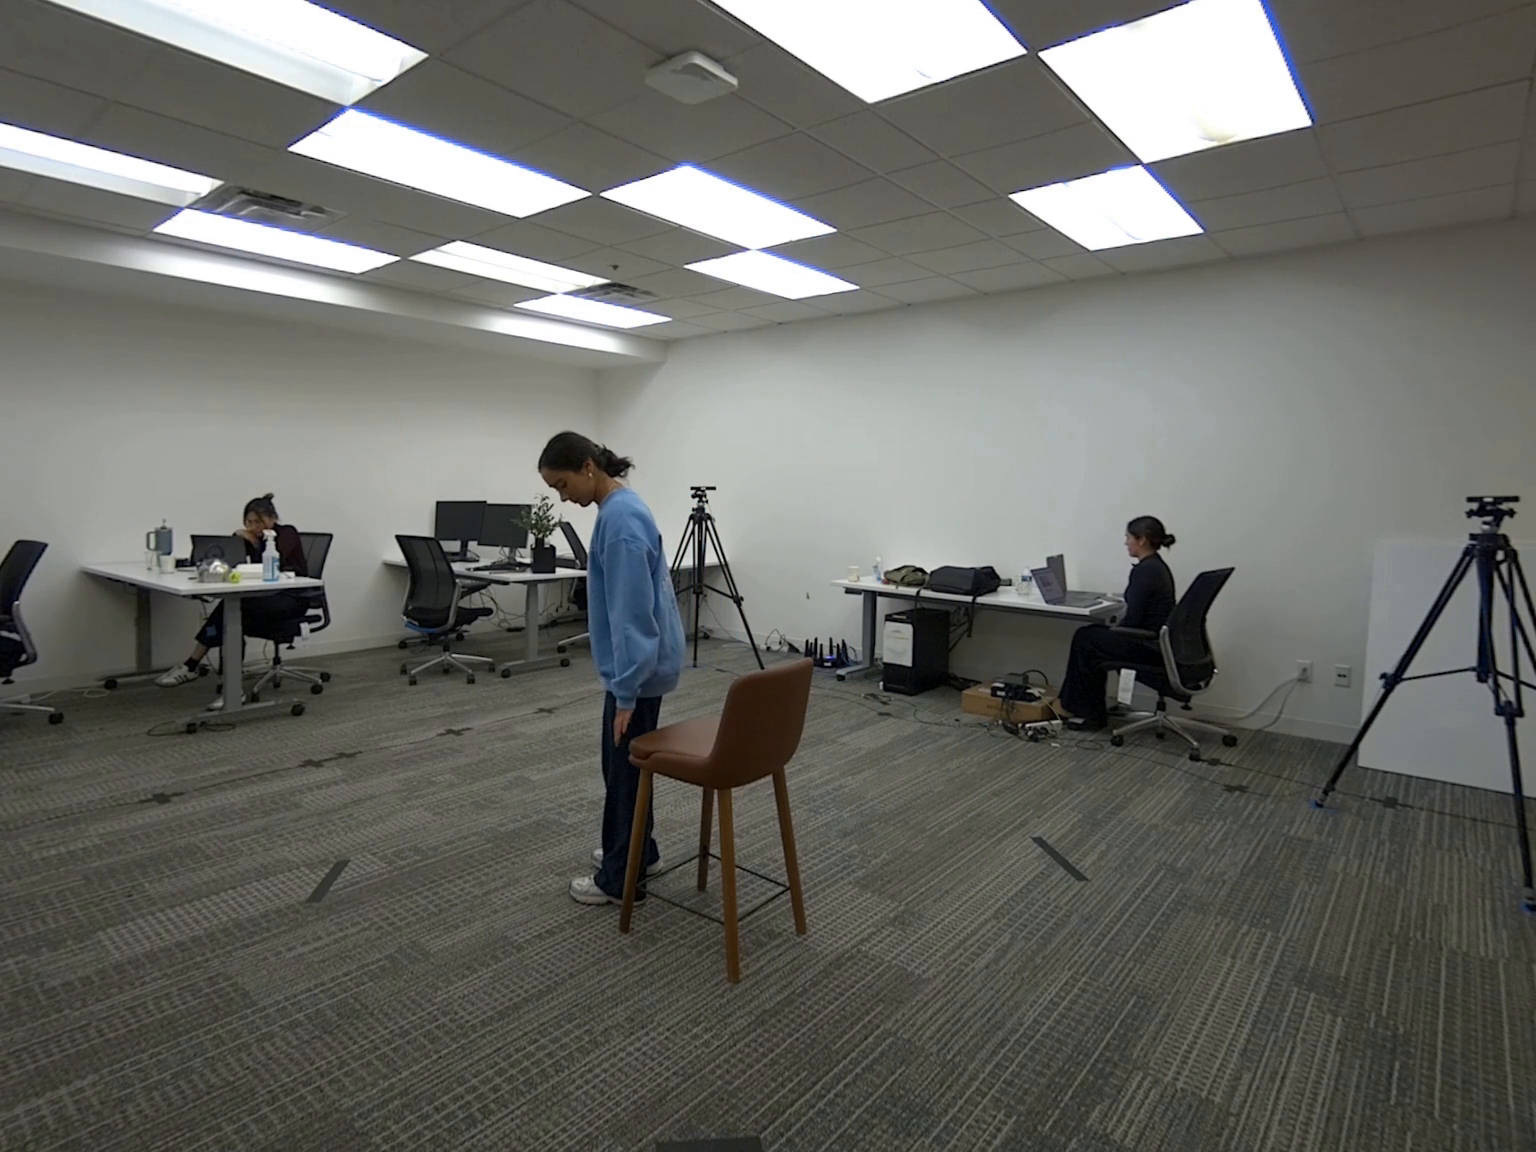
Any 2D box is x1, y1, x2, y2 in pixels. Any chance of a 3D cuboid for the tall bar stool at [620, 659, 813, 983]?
[{"bbox_3d":[-0.162,0.673,2.635,0.483,0.886,0.443,6,6,37],"label":"tall bar stool"}]
